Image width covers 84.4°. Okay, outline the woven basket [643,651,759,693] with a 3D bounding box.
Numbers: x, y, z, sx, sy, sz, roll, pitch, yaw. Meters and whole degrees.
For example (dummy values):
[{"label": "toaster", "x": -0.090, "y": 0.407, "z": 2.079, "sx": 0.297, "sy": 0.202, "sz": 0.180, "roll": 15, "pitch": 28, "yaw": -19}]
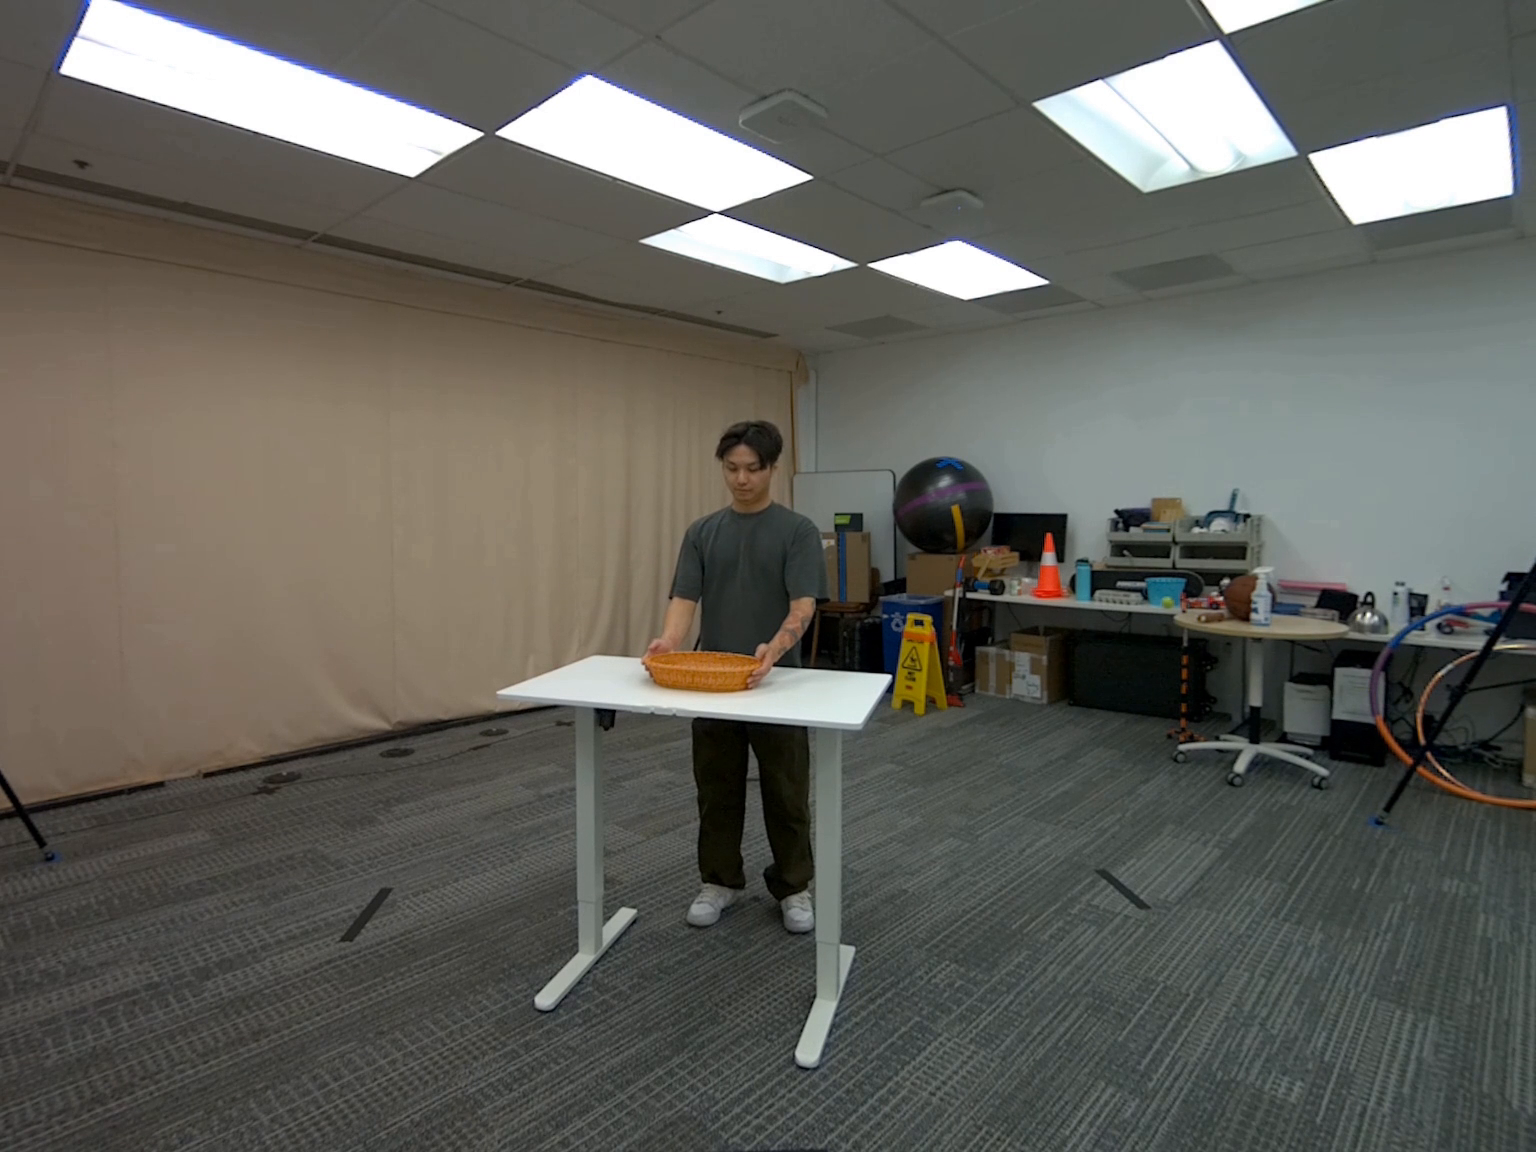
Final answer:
[{"label": "woven basket", "x": -0.185, "y": 0.275, "z": 2.428, "sx": 0.358, "sy": 0.073, "sz": 0.247, "roll": 2, "pitch": 6, "yaw": 22}]
